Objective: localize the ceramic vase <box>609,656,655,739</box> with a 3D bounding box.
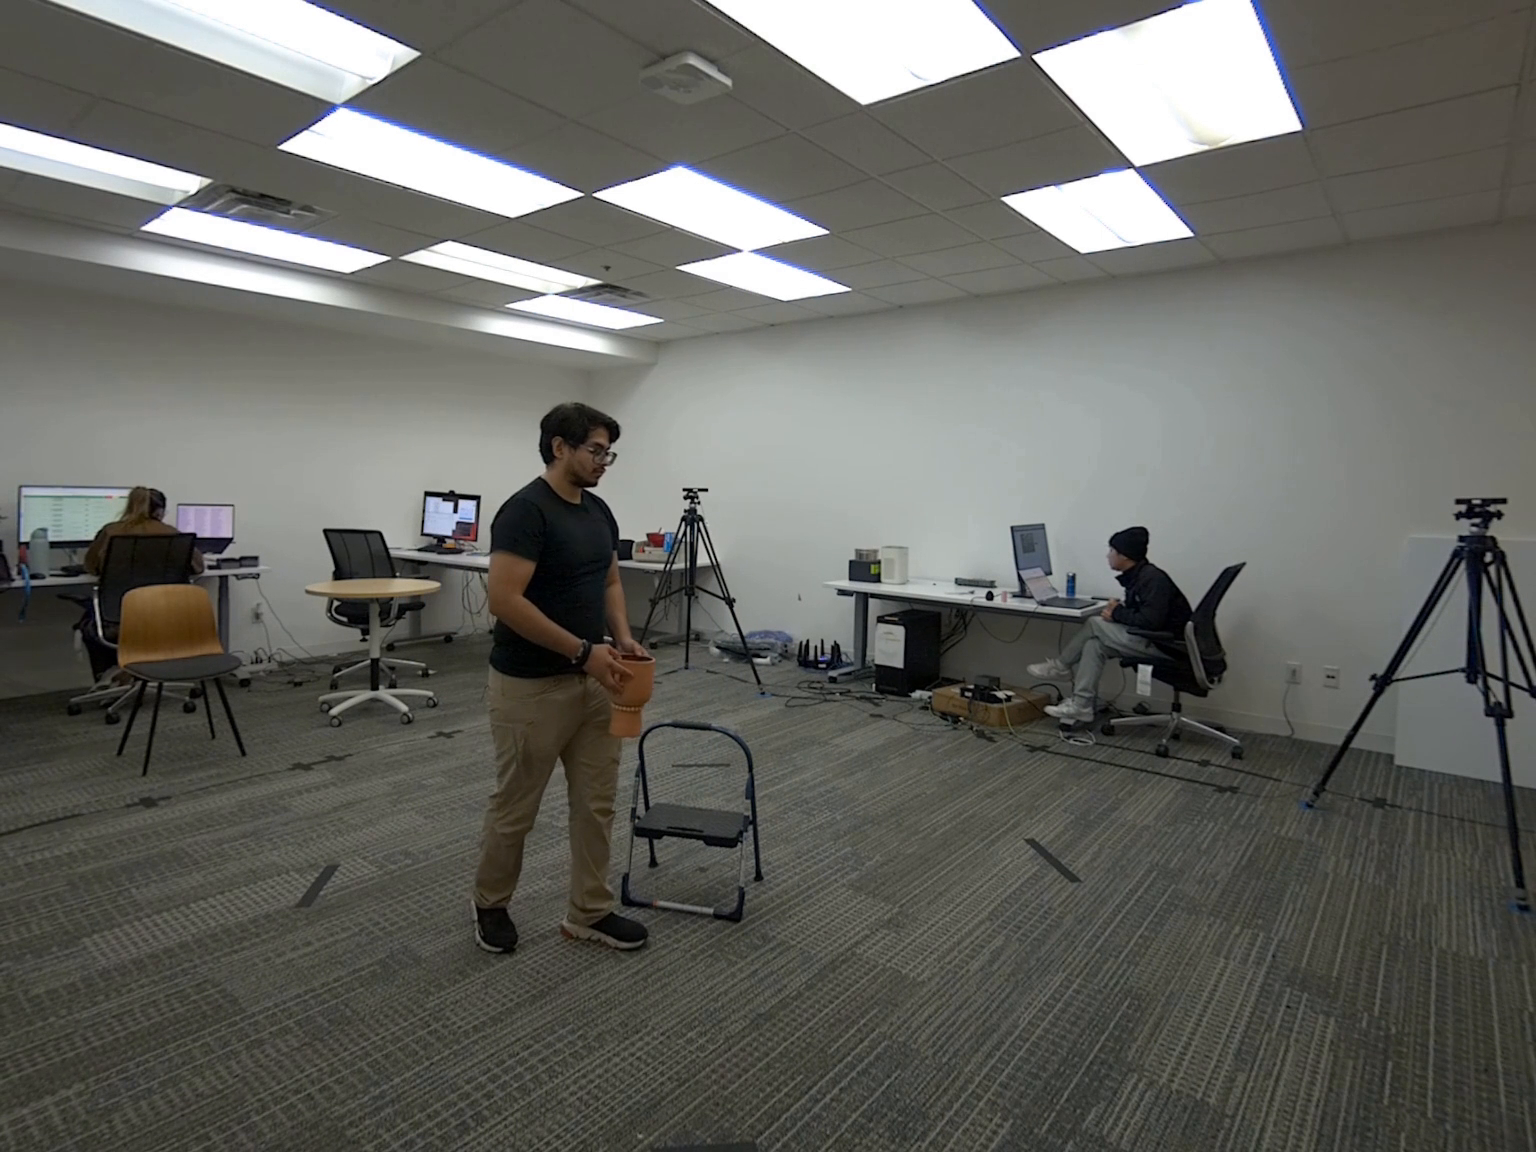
[{"bbox_3d":[-0.415,0.347,2.451,0.154,0.220,0.139,5,0,-32],"label":"ceramic vase"}]
